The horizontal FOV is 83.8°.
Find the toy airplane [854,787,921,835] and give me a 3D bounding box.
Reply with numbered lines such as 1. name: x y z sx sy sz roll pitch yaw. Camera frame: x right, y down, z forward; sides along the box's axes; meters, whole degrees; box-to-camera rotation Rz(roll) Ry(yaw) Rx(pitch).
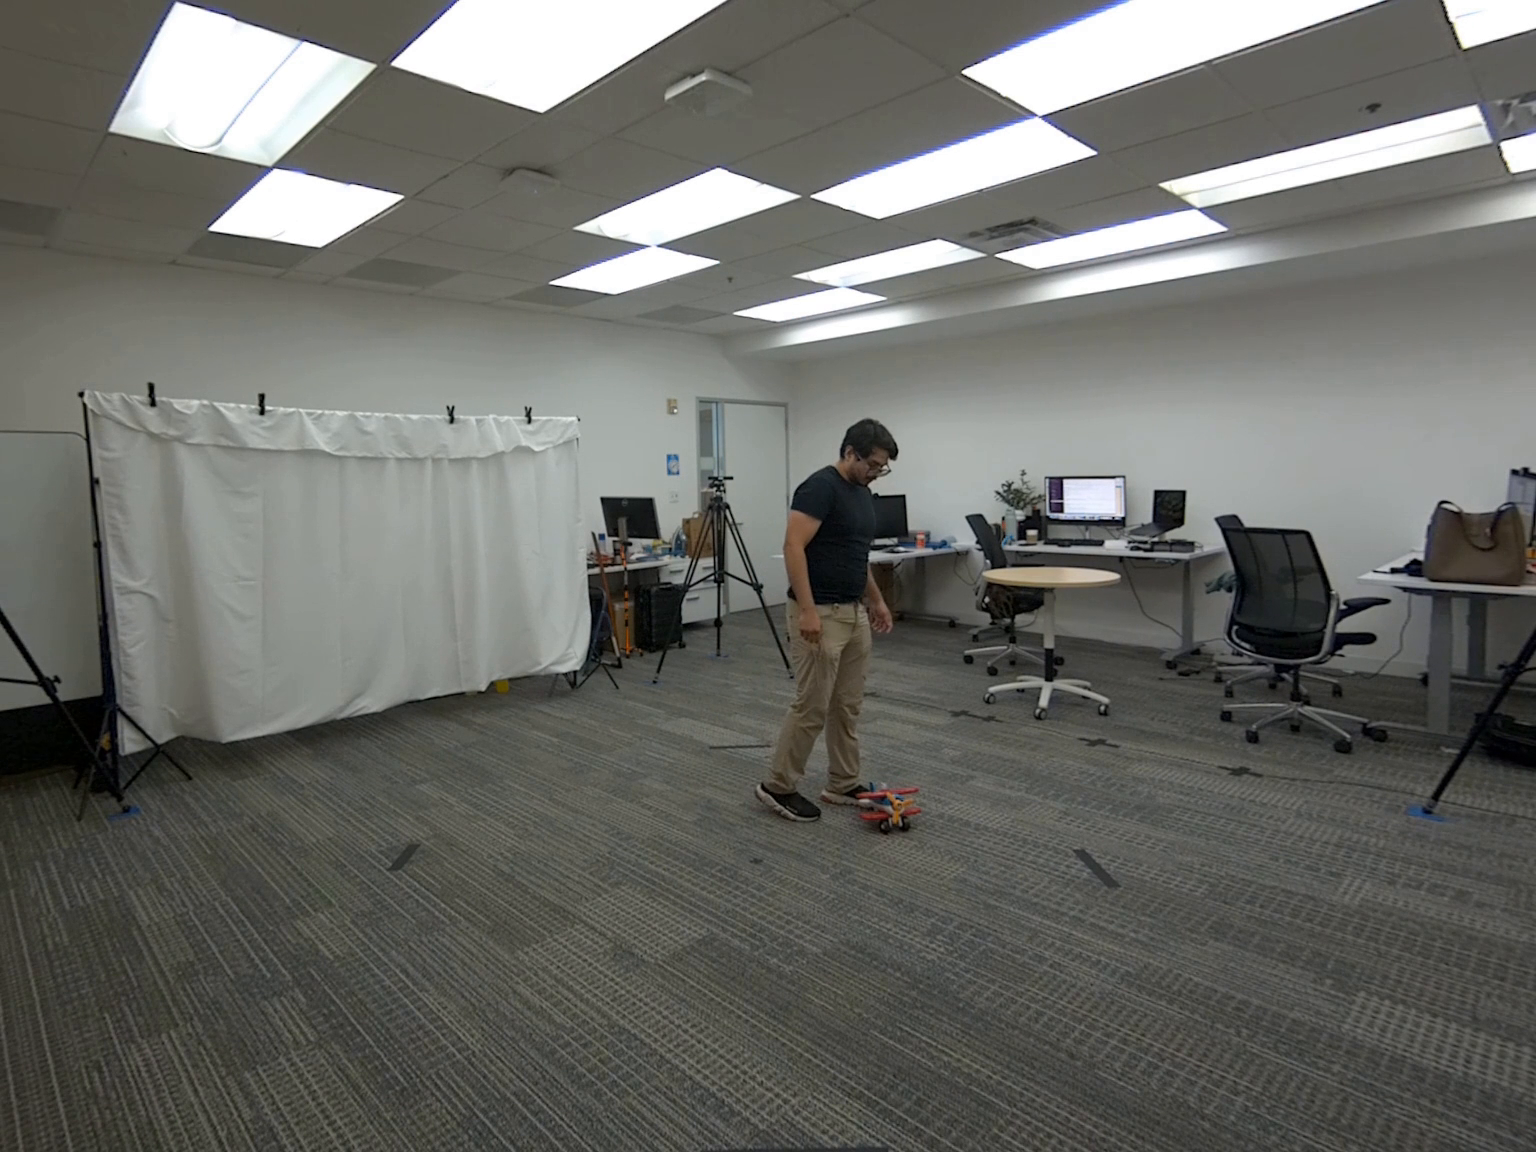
1. toy airplane: 0.453 0.919 3.411 0.244 0.156 0.267 -5 8 -44
